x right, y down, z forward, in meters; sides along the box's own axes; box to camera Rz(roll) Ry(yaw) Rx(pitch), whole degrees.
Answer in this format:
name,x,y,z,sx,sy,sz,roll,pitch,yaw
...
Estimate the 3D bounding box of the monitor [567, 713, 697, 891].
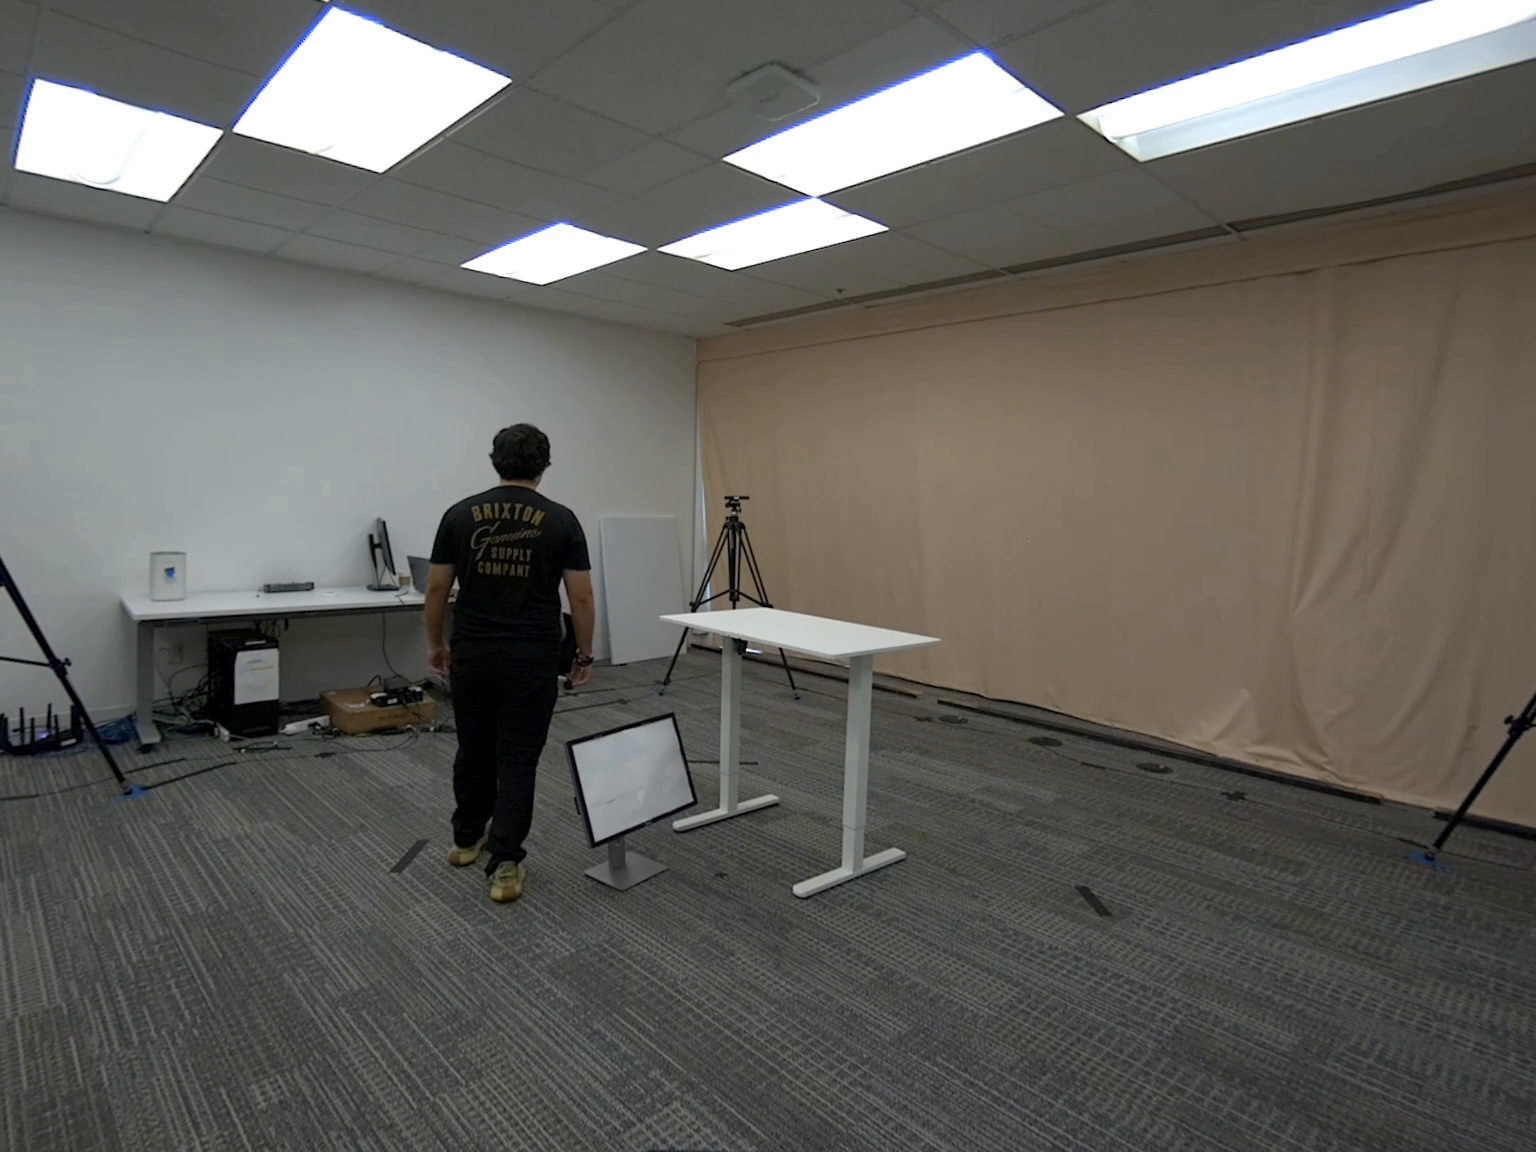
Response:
name,x,y,z,sx,sy,sz,roll,pitch,yaw
monitor,-0.546,0.829,3.107,0.214,0.555,0.553,-10,-3,35
